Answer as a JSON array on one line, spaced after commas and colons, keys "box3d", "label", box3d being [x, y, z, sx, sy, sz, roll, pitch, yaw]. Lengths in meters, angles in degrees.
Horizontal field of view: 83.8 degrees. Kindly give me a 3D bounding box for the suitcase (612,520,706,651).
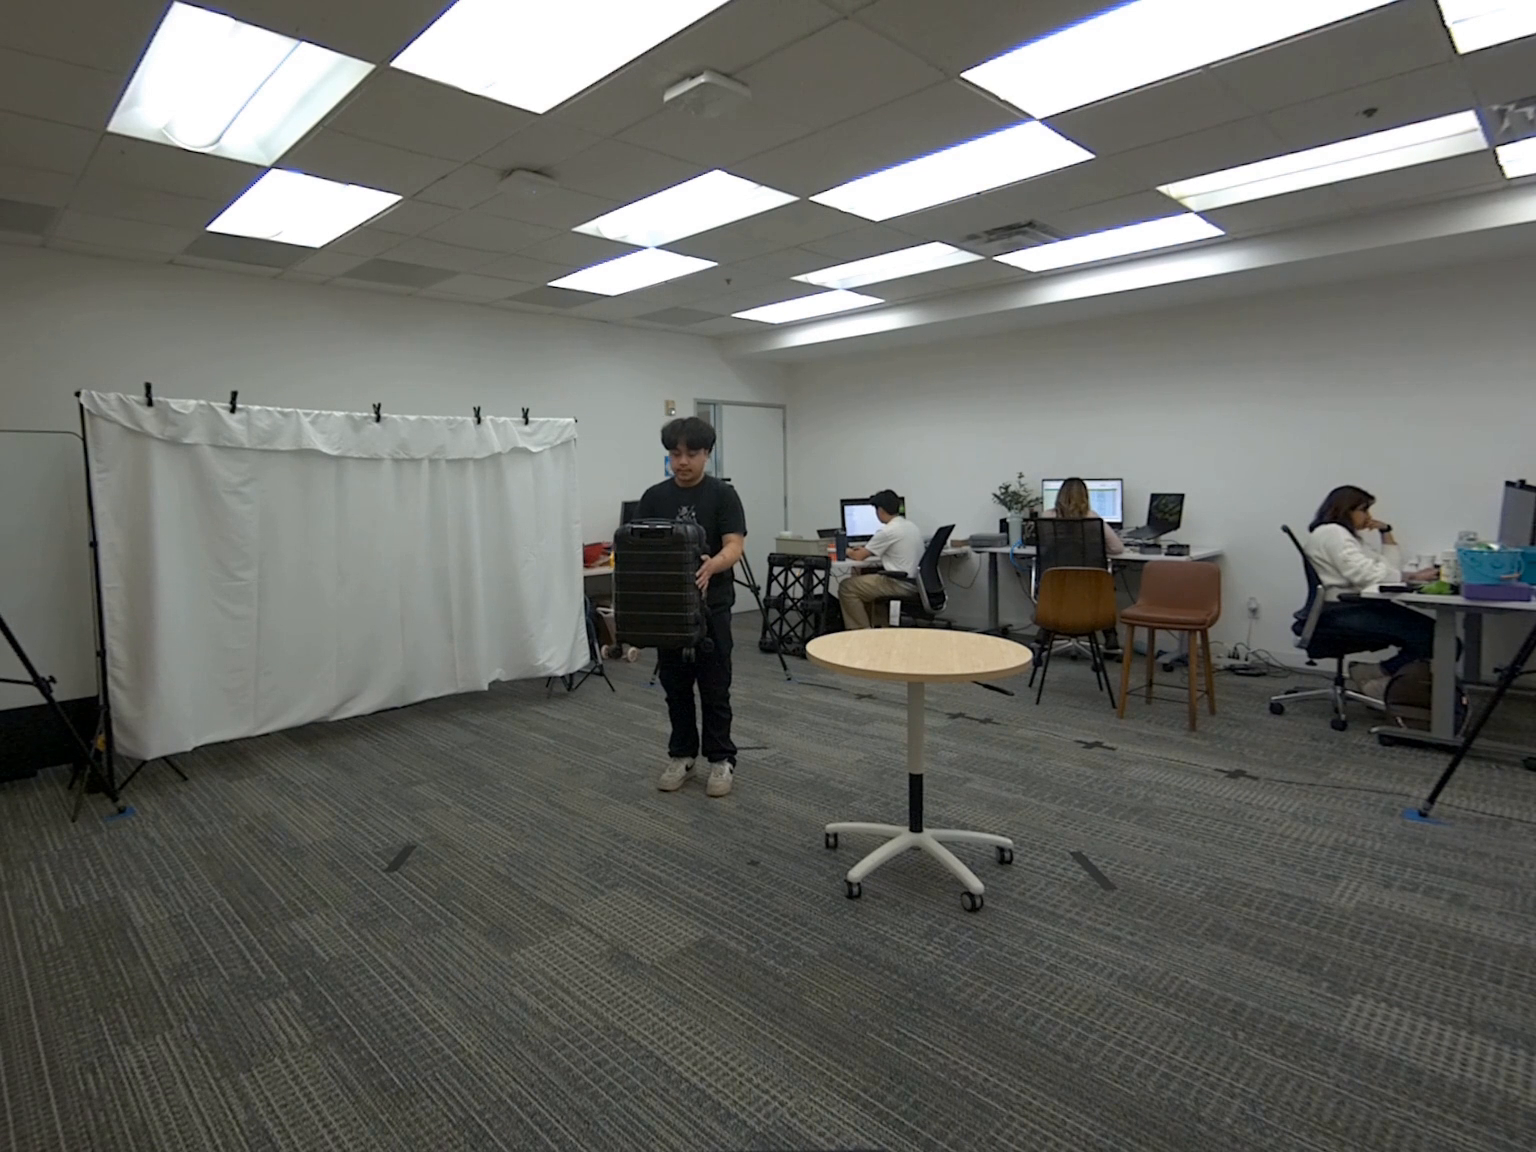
[{"box3d": [-0.442, 0.047, 3.488, 0.381, 0.548, 0.245, -1, 2, 14], "label": "suitcase"}]
